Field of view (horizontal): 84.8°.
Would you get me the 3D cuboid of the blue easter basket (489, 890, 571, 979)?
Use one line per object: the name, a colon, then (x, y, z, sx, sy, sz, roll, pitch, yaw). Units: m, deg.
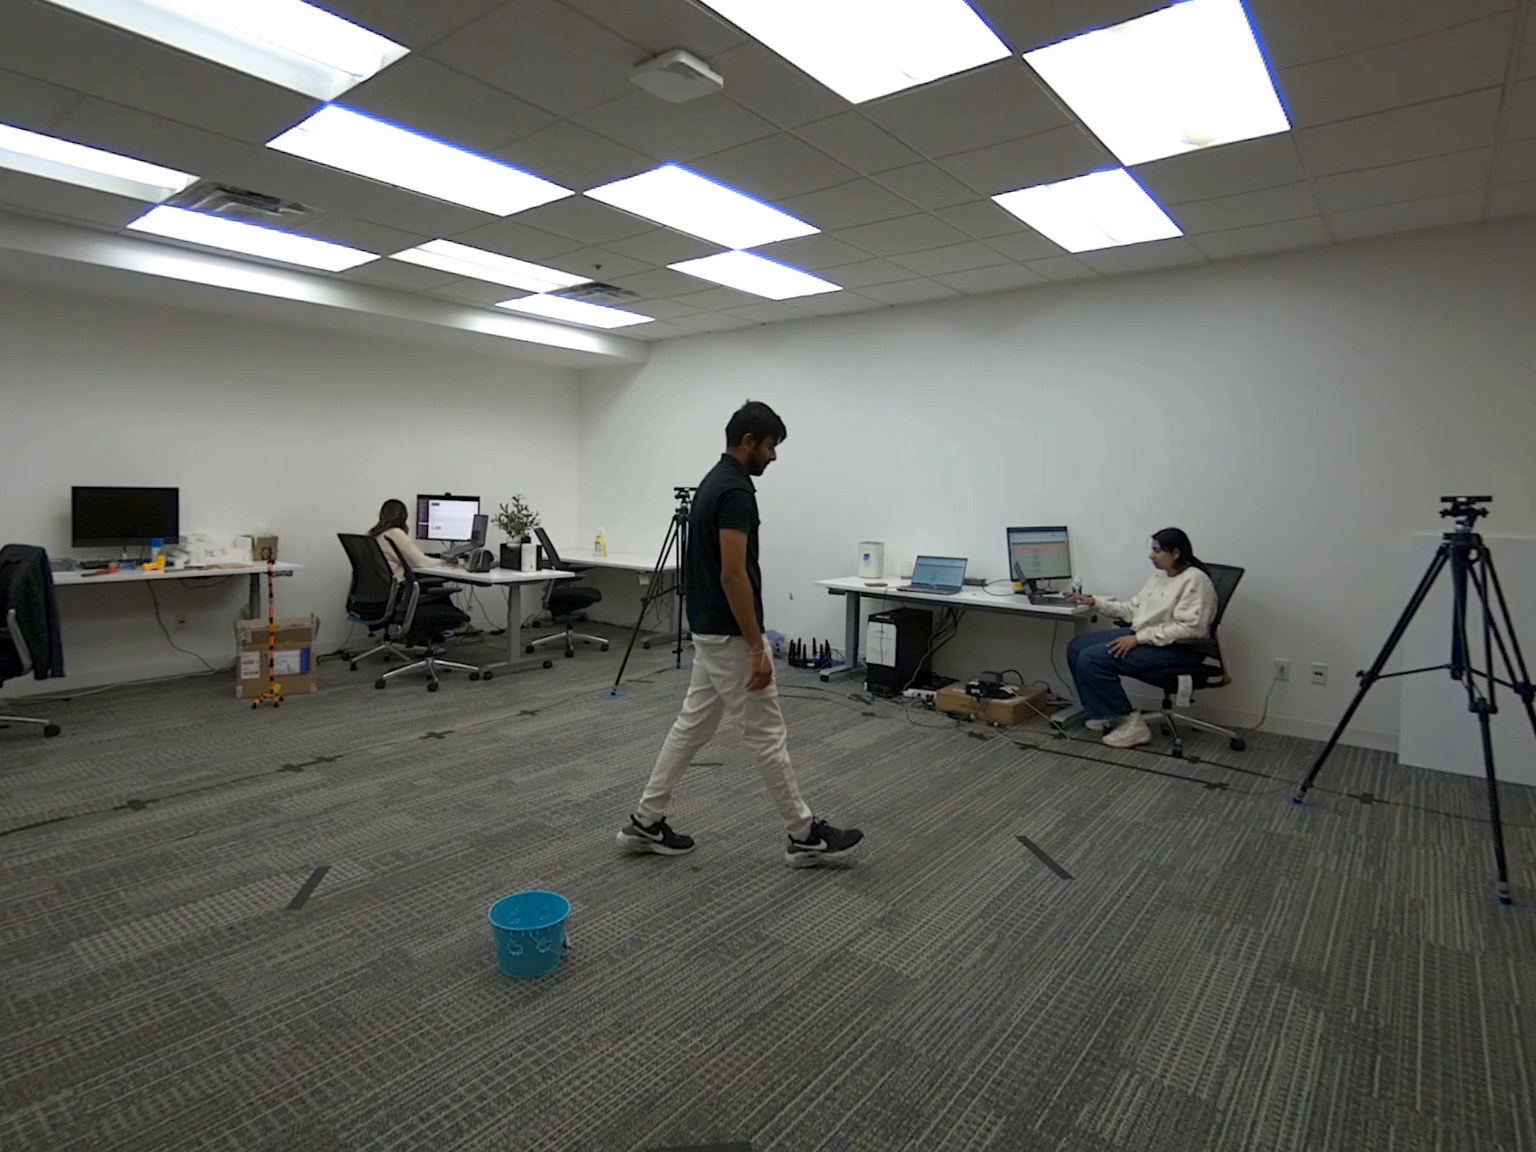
blue easter basket: (-0.699, 1.045, 2.478, 0.243, 0.155, 0.245, 0, 5, -2)
